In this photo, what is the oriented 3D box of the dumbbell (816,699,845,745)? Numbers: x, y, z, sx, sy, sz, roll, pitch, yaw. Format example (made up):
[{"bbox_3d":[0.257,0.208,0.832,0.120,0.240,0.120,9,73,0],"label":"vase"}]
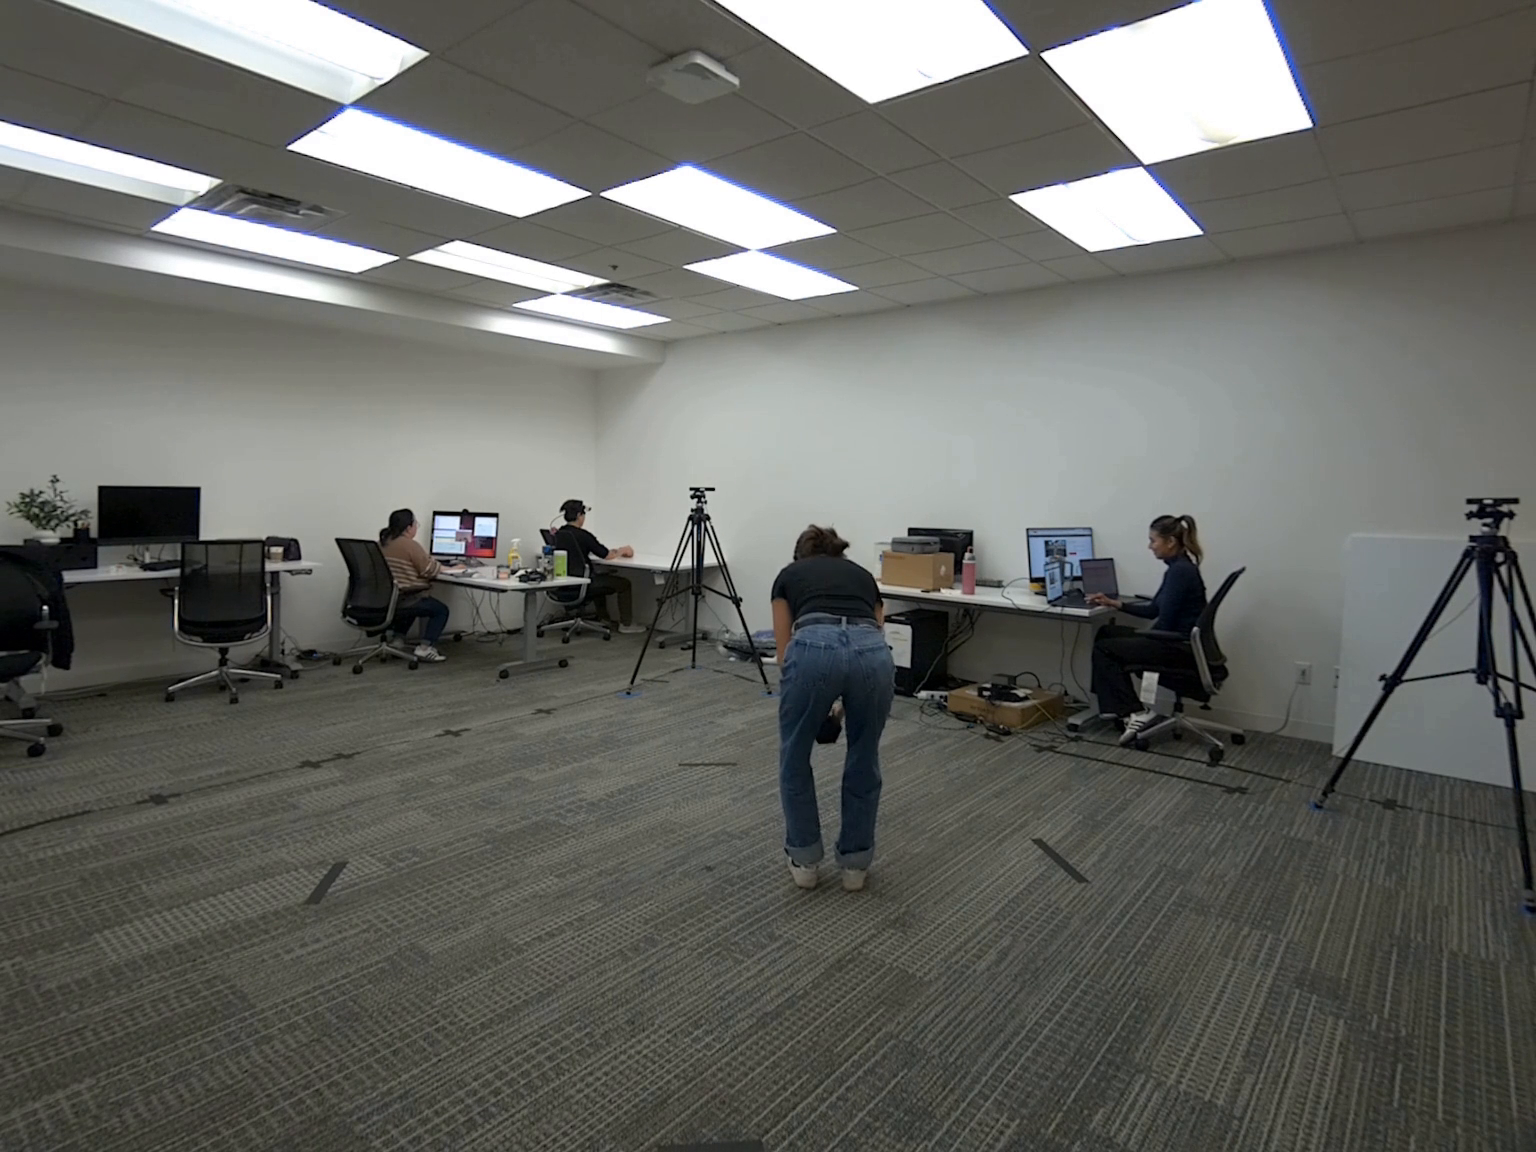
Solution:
[{"bbox_3d":[0.204,0.525,3.233,0.108,0.122,0.295,22,9,-3],"label":"dumbbell"}]
